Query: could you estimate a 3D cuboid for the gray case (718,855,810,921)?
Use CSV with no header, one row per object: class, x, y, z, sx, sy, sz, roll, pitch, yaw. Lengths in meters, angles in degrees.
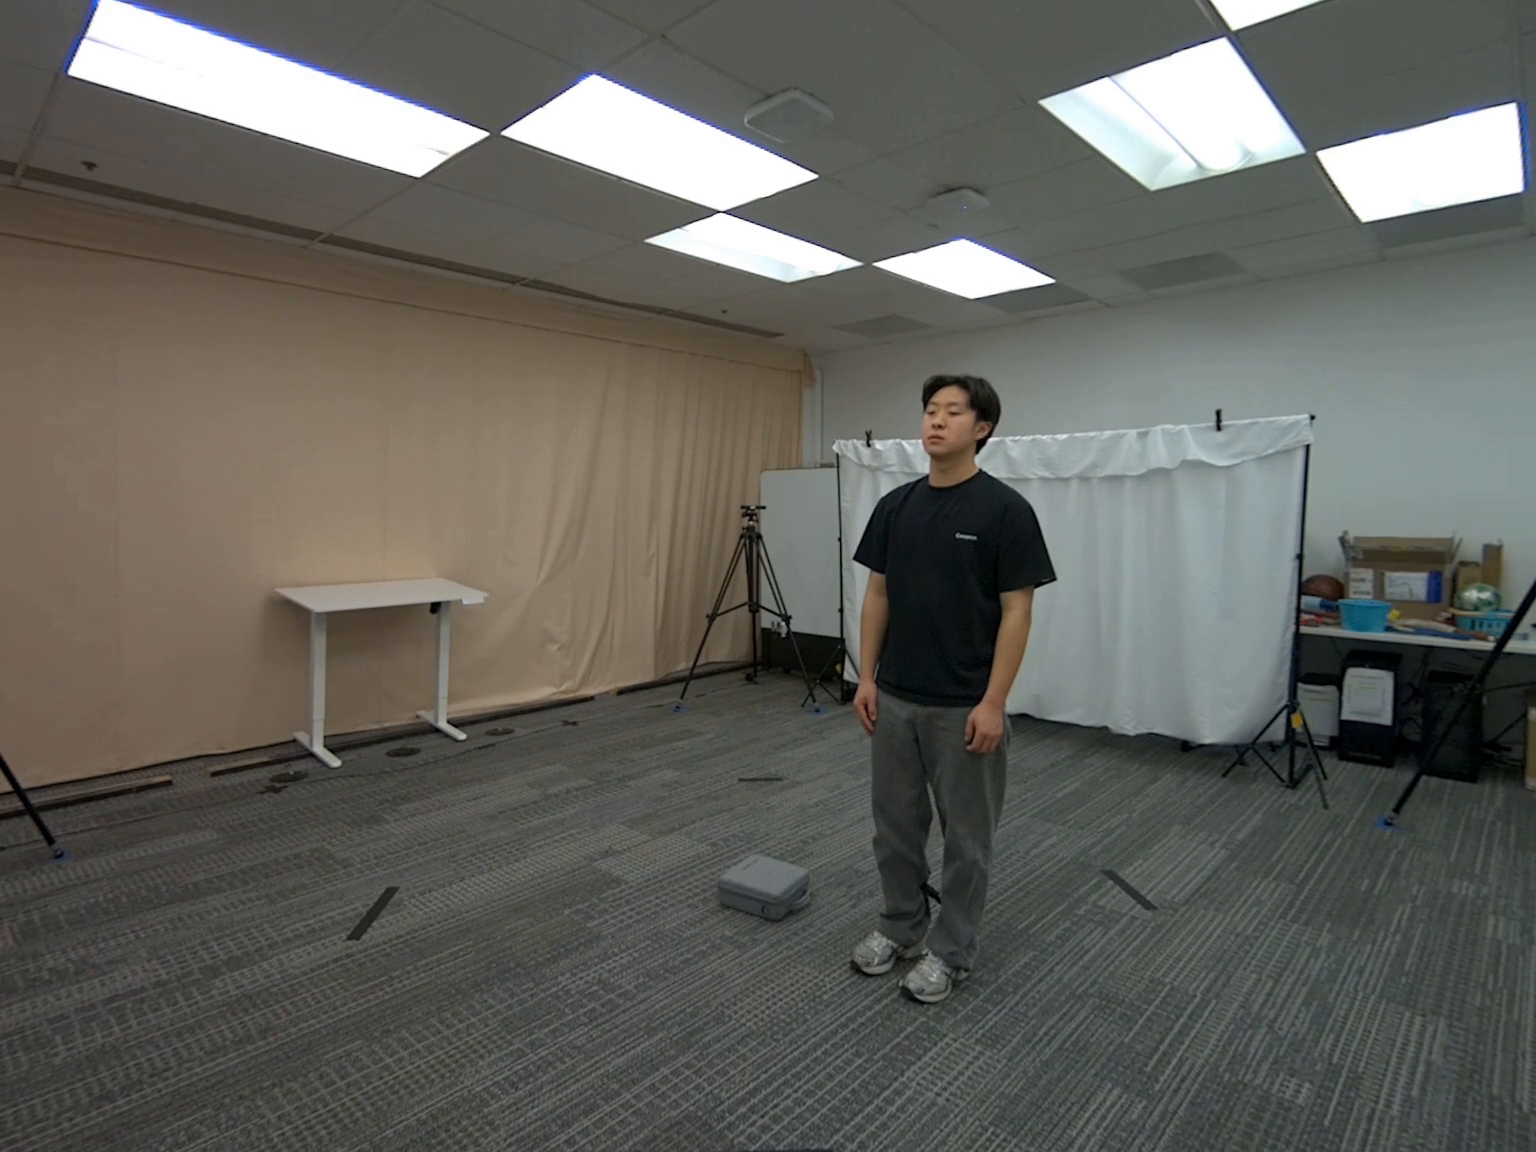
gray case,0.002,1.091,2.961,0.296,0.103,0.256,4,6,32
